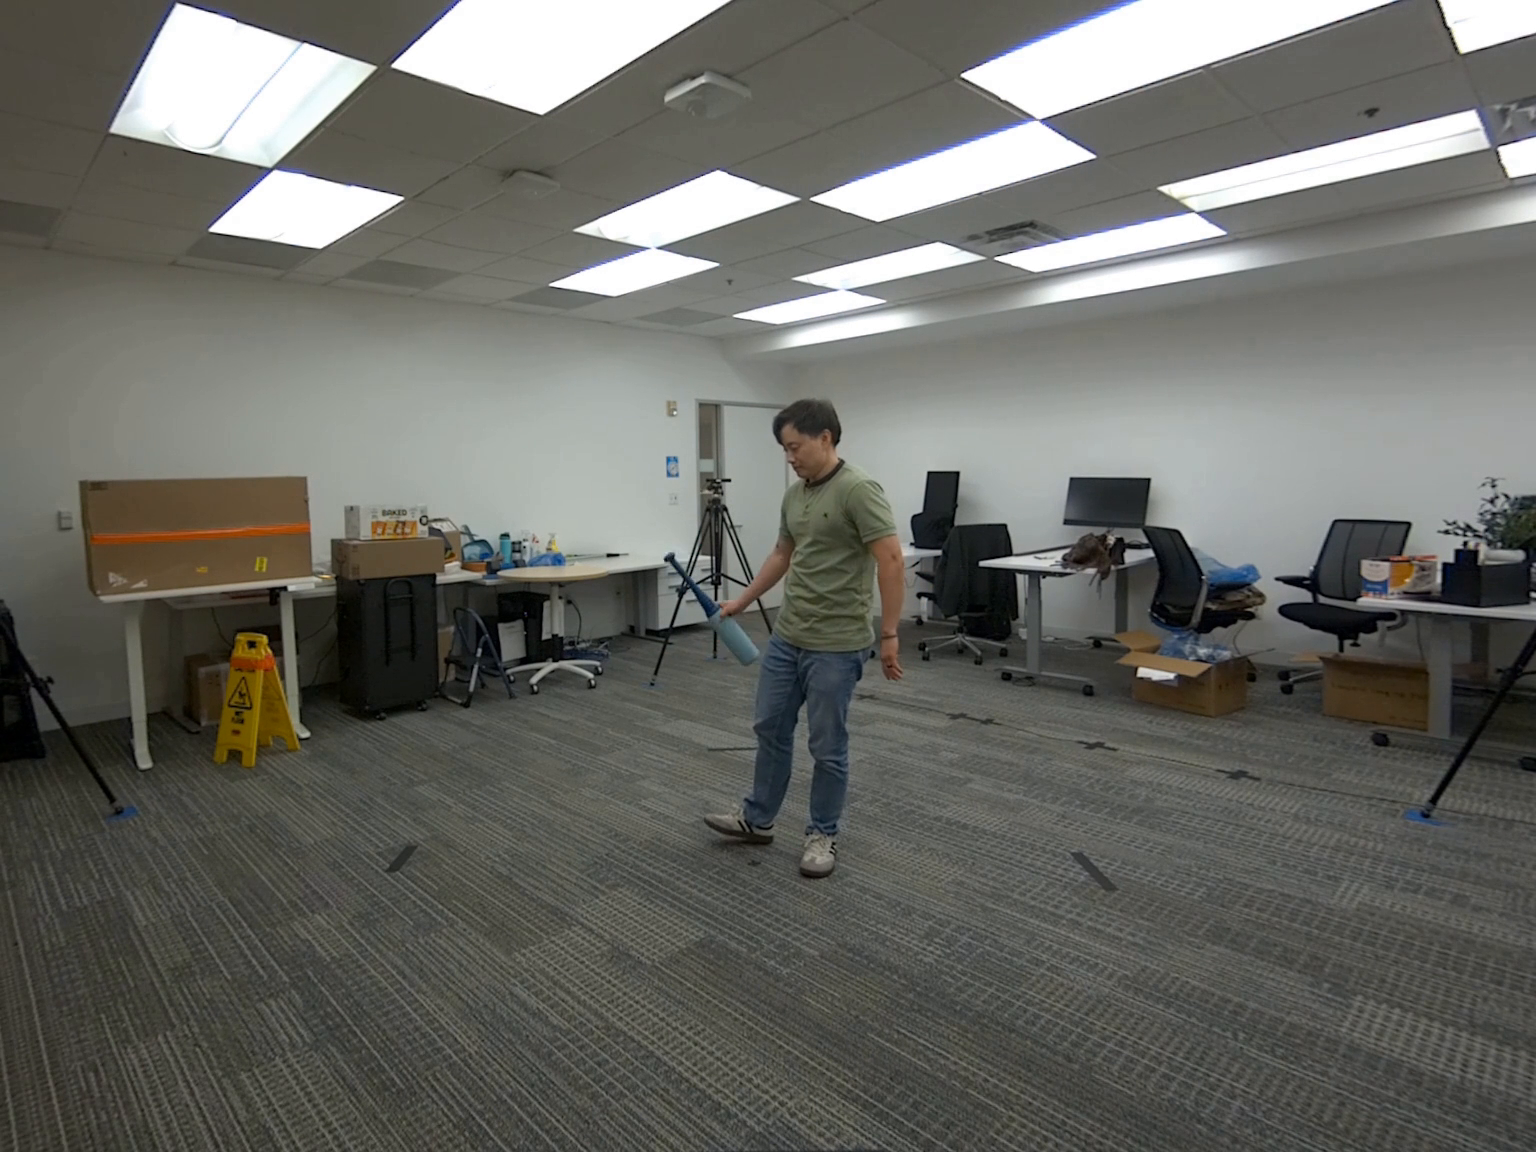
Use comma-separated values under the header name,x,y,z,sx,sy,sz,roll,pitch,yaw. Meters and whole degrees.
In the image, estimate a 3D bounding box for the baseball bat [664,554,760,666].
name,x,y,z,sx,sy,sz,roll,pitch,yaw
baseball bat,-0.223,0.130,3.347,0.089,0.538,0.090,-42,7,6
